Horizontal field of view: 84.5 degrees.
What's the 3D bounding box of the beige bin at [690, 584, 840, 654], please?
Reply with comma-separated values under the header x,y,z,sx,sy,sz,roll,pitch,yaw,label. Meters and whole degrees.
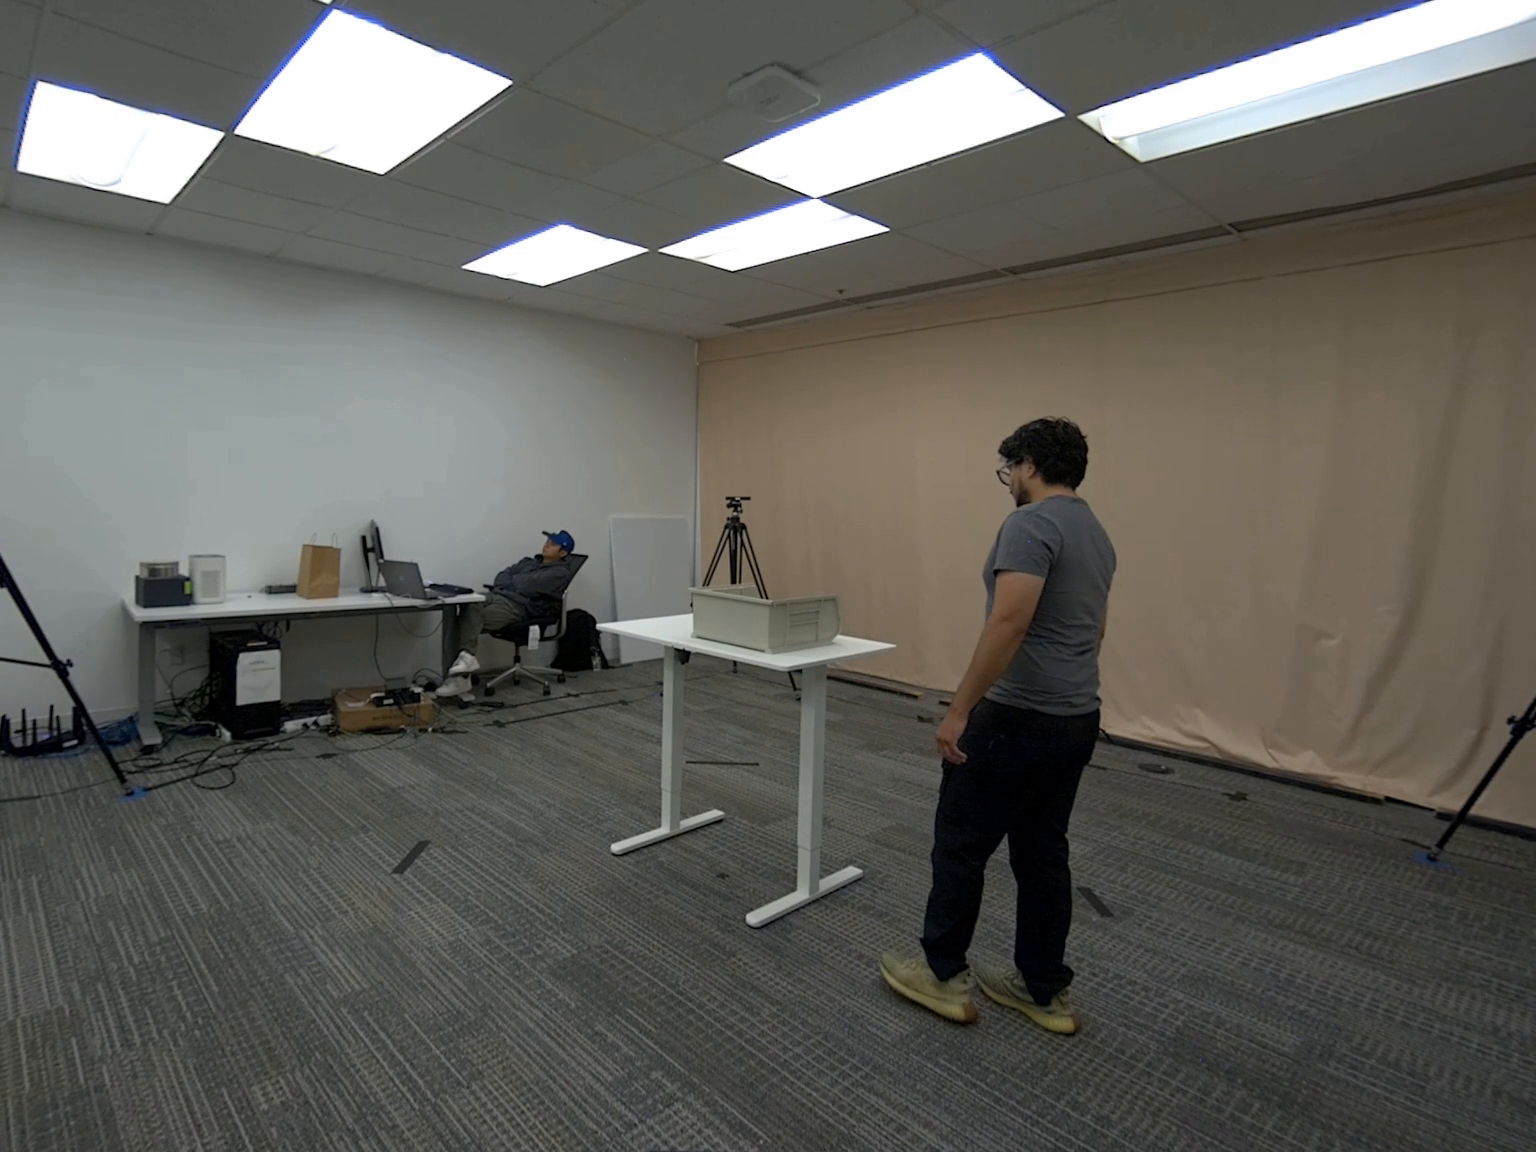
x,y,z,sx,sy,sz,roll,pitch,yaw,label
-0.015,0.145,3.036,0.369,0.188,0.433,-5,9,-45,beige bin
